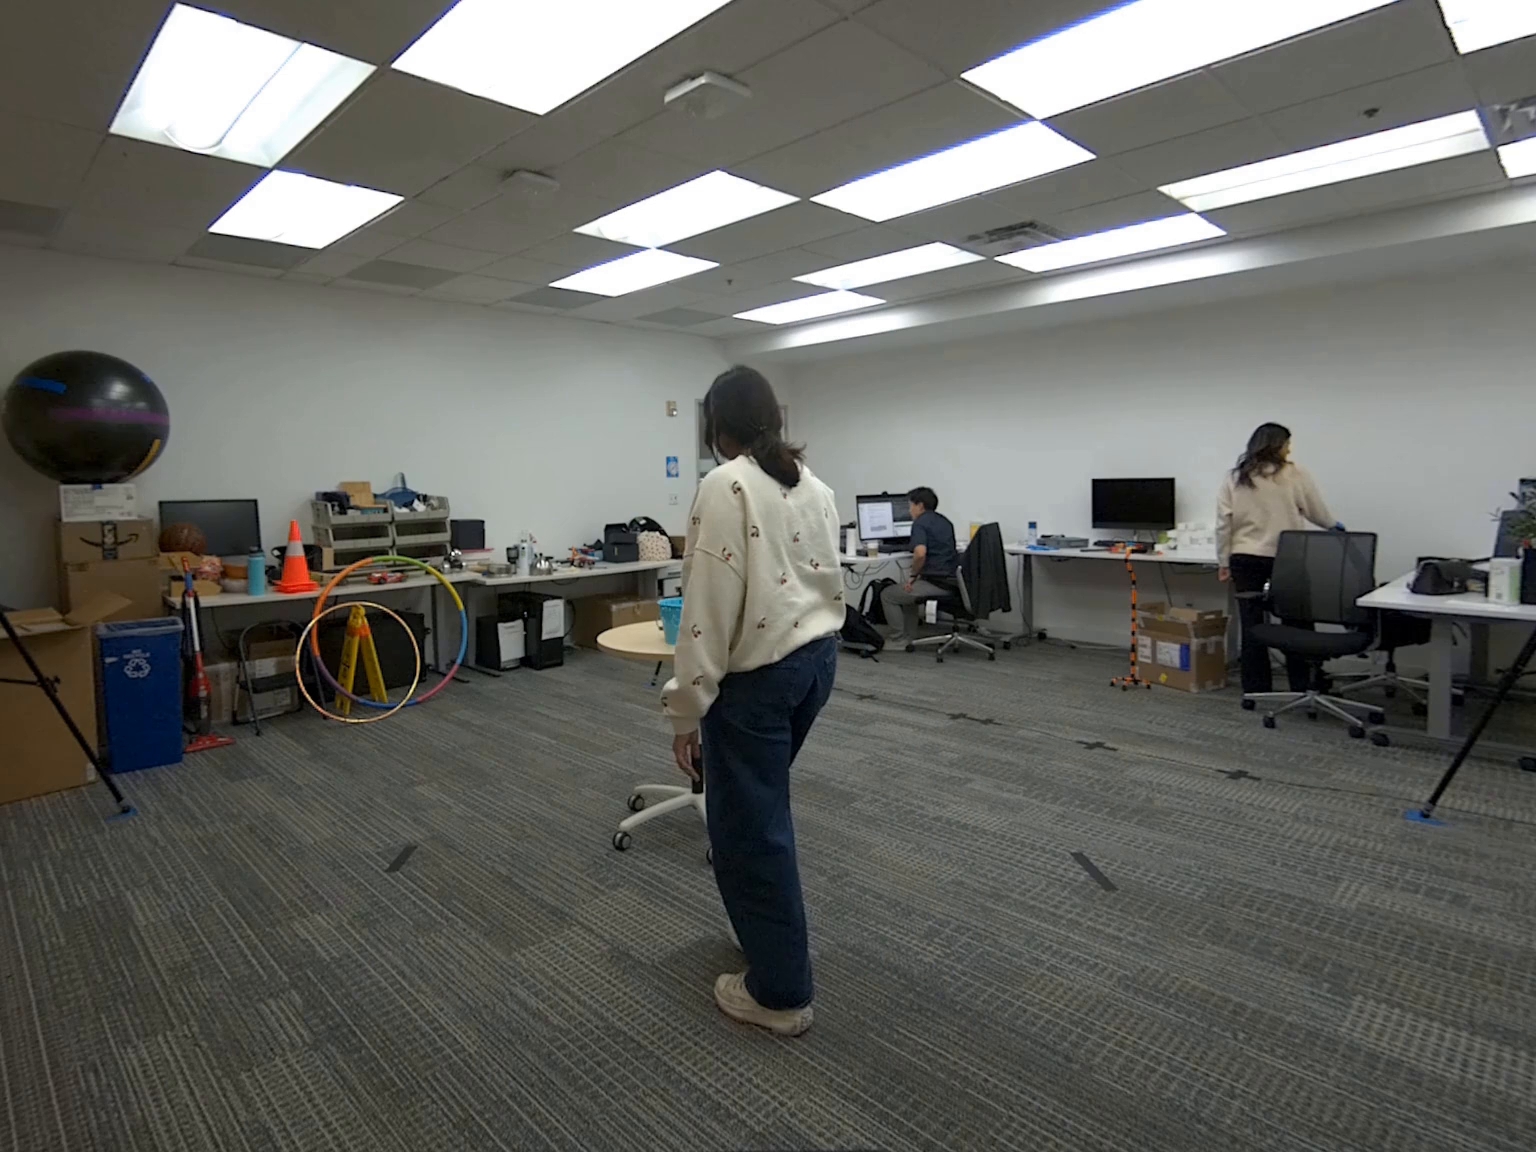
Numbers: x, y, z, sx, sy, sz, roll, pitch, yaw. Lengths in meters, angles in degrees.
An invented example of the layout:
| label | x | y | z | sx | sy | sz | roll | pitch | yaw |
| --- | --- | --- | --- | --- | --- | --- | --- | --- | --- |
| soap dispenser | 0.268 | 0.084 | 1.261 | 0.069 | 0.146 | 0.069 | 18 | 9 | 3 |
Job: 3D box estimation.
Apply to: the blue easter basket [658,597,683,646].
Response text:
| label | x | y | z | sx | sy | sz | roll | pitch | yaw |
| --- | --- | --- | --- | --- | --- | --- | --- | --- | --- |
| blue easter basket | -0.306 | 0.174 | 3.269 | 0.243 | 0.155 | 0.245 | -2 | 6 | -2 |
